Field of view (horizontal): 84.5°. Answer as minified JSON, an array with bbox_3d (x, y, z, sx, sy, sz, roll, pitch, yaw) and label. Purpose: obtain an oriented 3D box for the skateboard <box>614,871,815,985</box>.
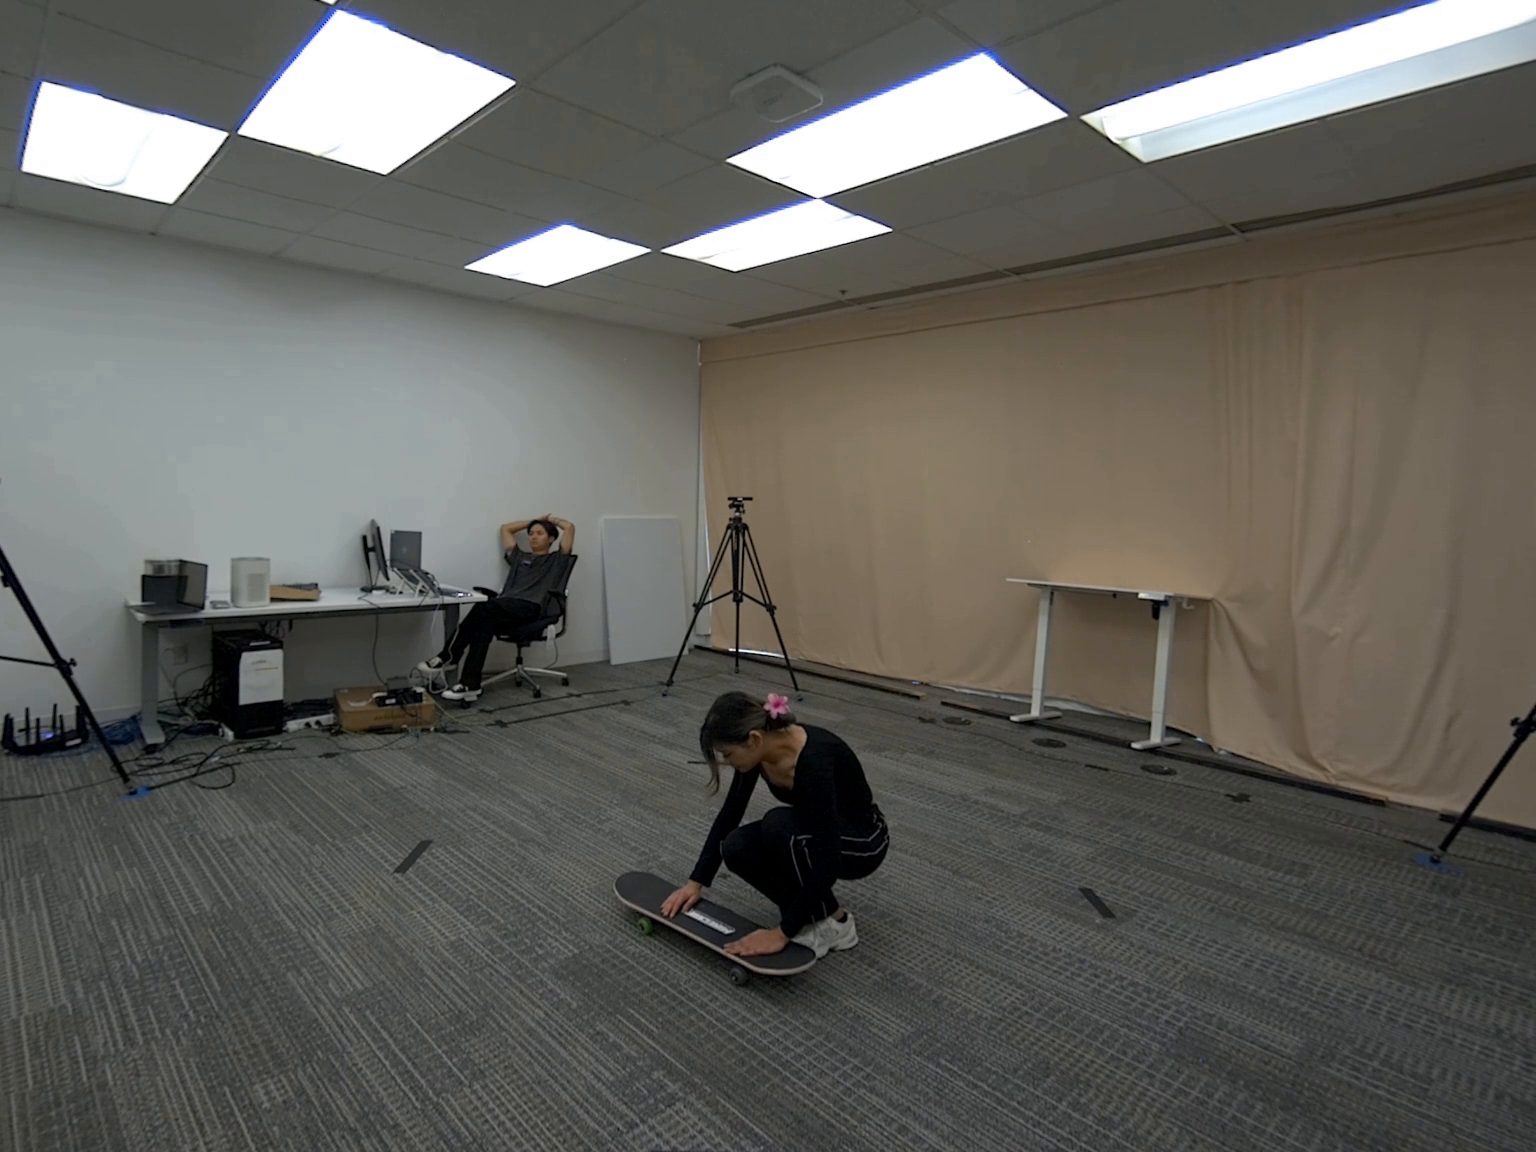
[{"bbox_3d":[-0.196,1.092,2.597,0.805,0.110,0.189,6,7,40],"label":"skateboard"}]
